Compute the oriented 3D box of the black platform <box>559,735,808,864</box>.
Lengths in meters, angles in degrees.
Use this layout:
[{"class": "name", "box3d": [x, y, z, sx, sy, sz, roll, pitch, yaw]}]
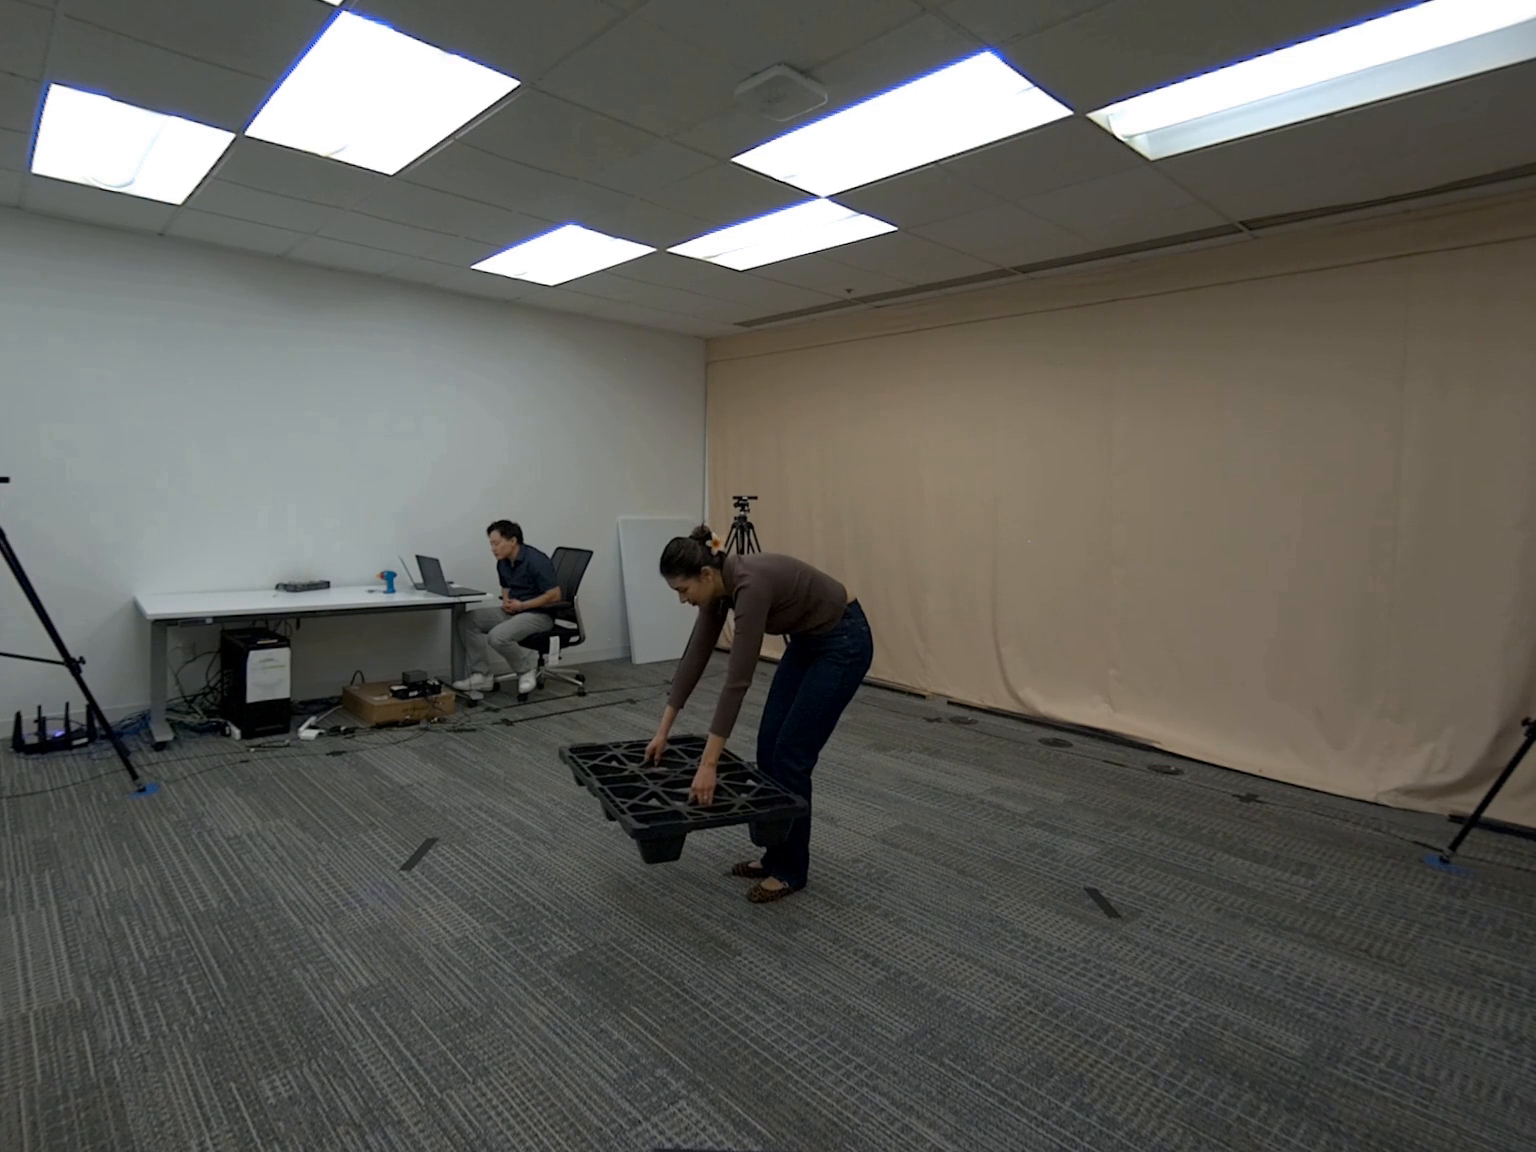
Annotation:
[{"class": "black platform", "box3d": [-0.329, 0.743, 2.880, 0.593, 0.143, 0.824, 1, 6, -28]}]
